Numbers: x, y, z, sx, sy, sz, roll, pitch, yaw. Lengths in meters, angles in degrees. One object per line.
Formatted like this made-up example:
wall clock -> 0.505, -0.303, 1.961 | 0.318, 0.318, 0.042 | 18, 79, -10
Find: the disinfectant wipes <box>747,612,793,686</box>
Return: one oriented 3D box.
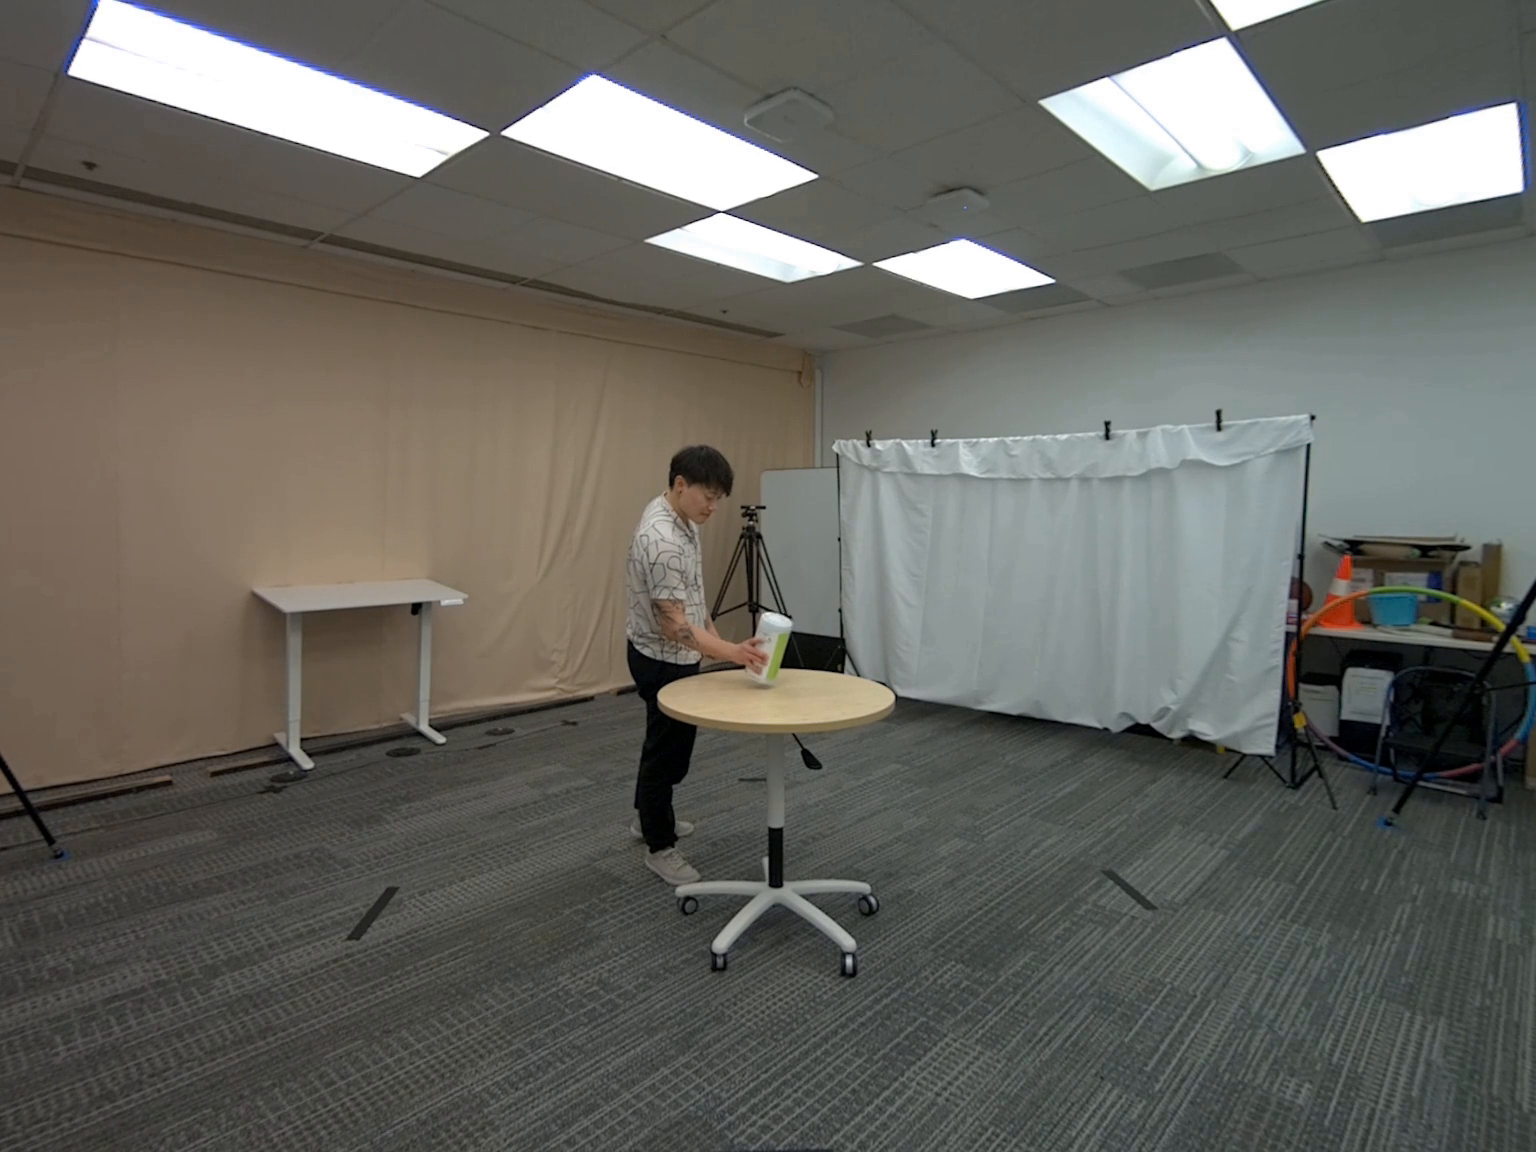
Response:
disinfectant wipes -> 0.009, 0.235, 2.791 | 0.117, 0.216, 0.119 | 13, 15, -5
